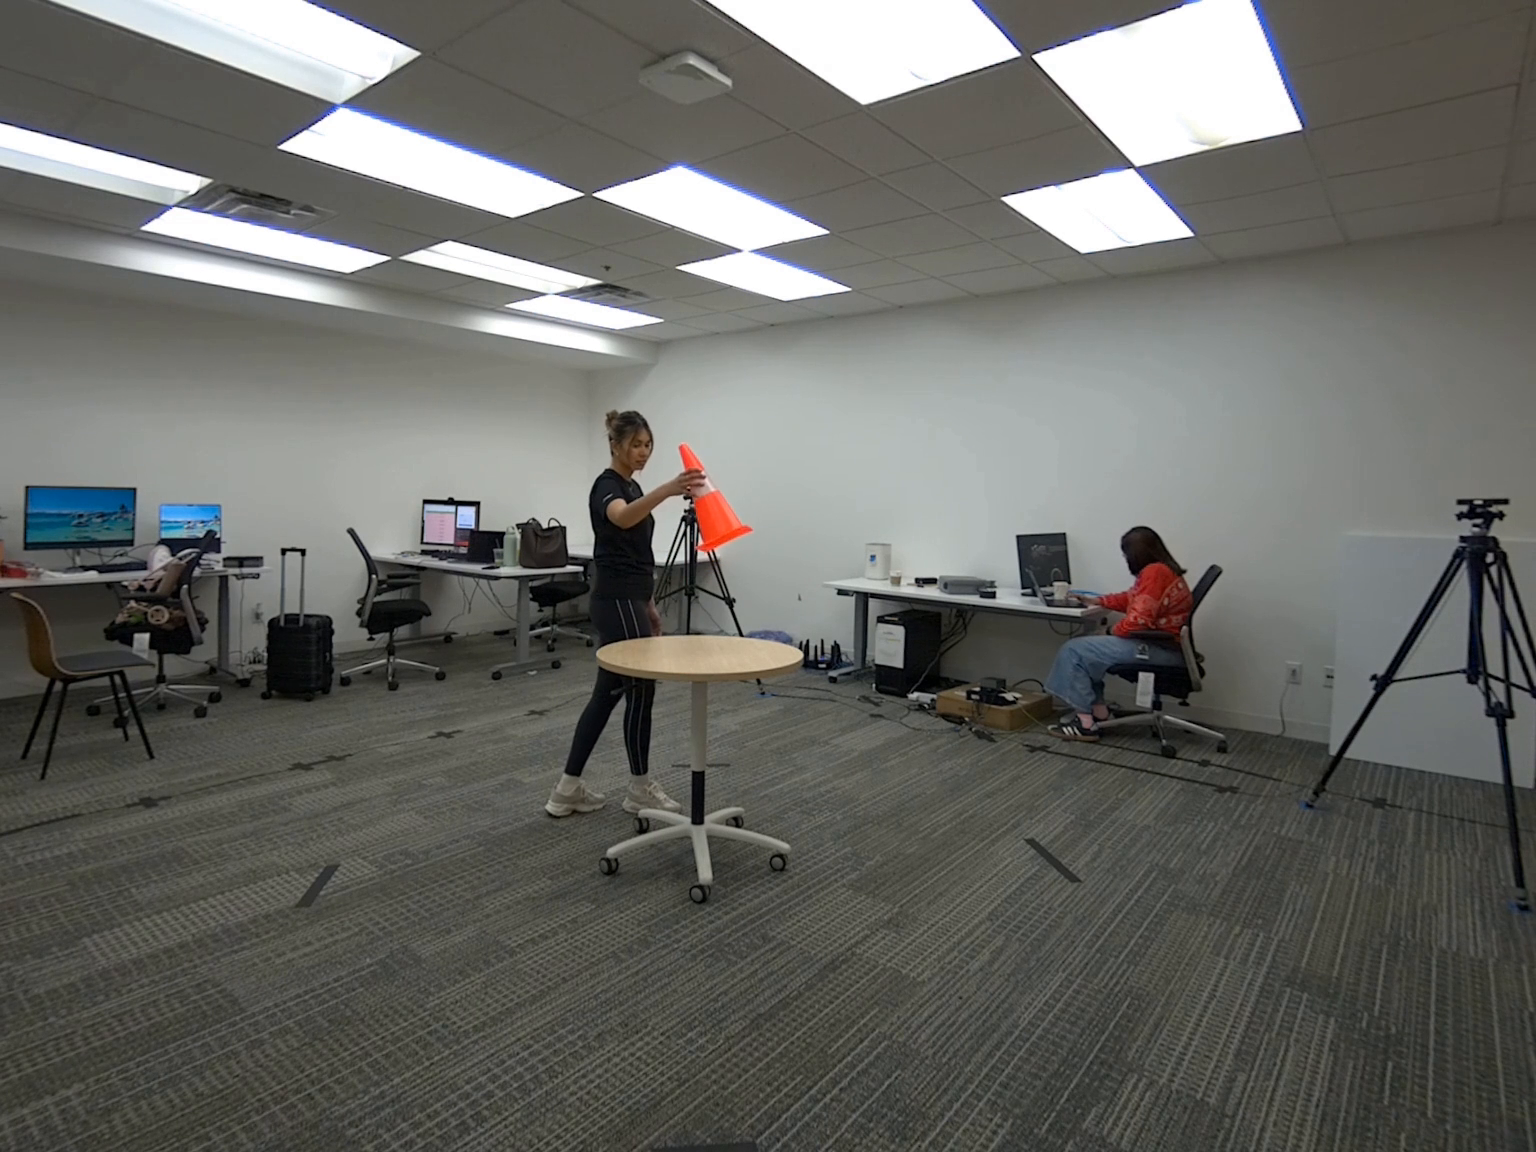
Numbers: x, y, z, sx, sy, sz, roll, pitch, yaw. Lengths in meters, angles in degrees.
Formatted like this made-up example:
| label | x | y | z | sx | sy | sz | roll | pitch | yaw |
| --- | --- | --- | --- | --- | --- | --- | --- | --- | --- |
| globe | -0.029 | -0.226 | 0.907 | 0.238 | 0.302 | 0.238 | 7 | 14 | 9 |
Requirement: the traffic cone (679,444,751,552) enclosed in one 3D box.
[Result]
| label | x | y | z | sx | sy | sz | roll | pitch | yaw |
| --- | --- | --- | --- | --- | --- | --- | --- | --- | --- |
| traffic cone | -0.239 | -0.302 | 3.076 | 0.205 | 0.388 | 0.201 | -25 | -8 | 14 |
